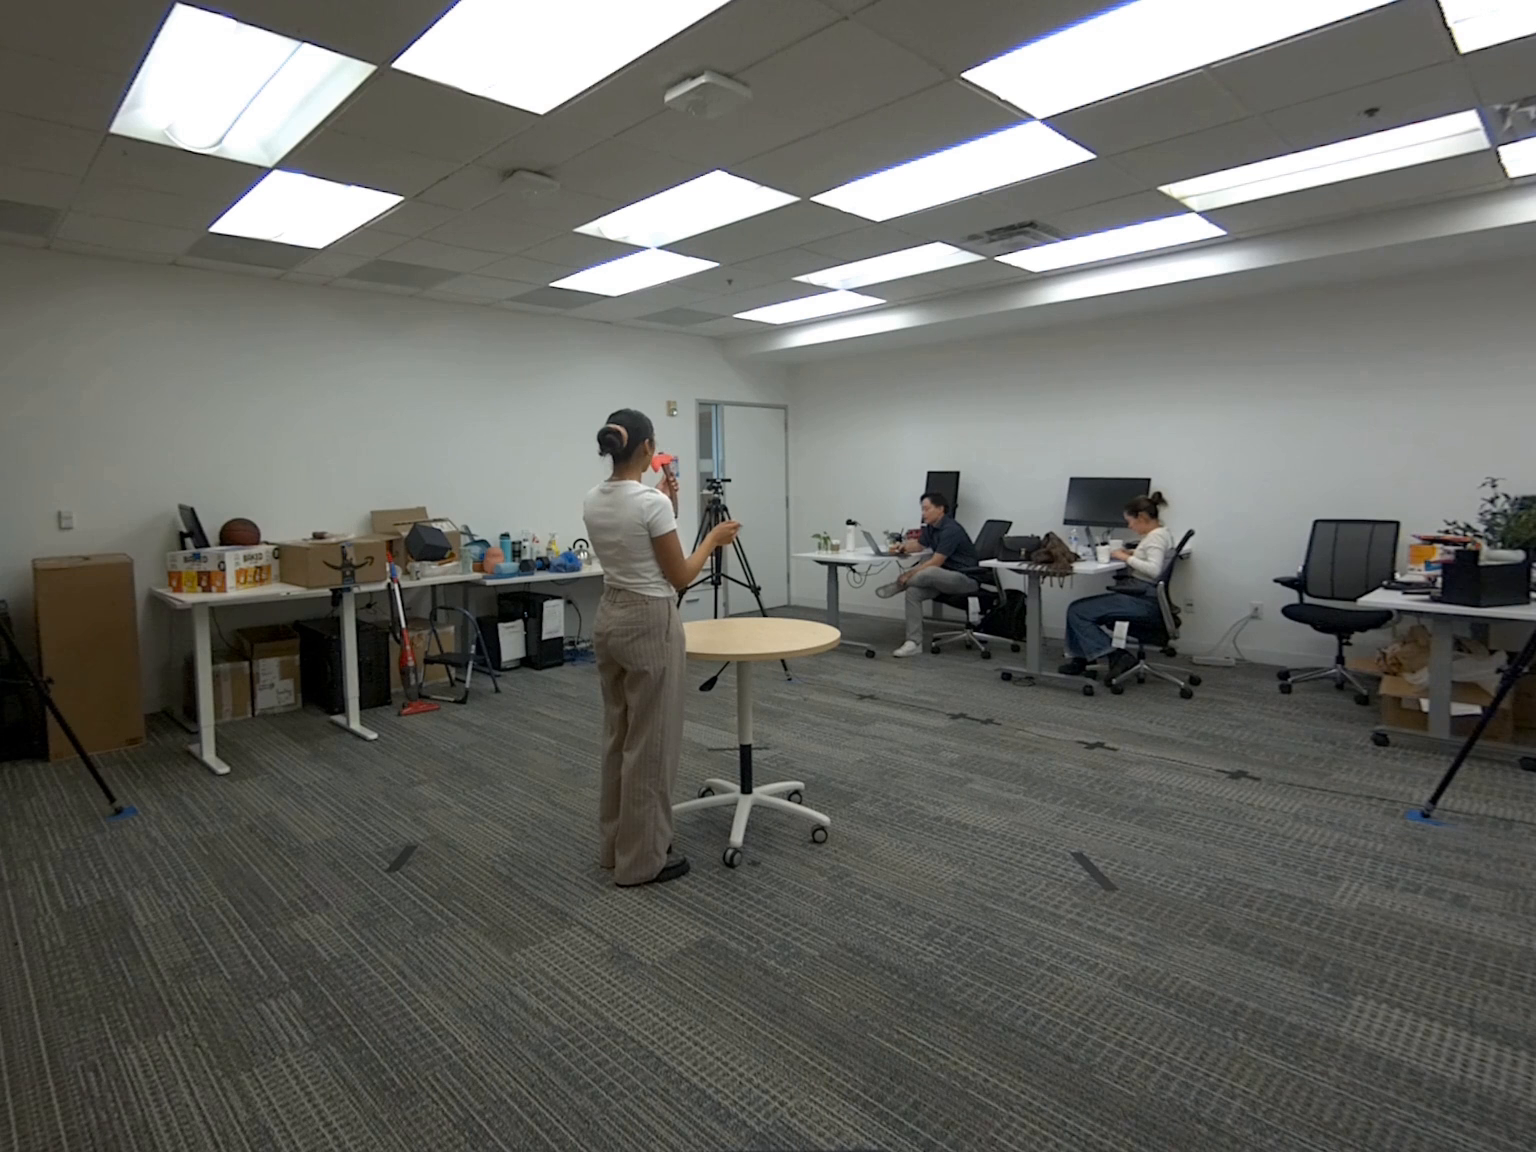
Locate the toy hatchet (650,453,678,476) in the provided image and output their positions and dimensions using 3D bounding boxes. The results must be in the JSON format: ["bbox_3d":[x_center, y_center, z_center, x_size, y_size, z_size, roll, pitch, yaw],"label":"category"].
[{"bbox_3d":[-0.408,-0.358,3.314,0.127,0.275,0.030,14,-28,-33],"label":"toy hatchet"}]
